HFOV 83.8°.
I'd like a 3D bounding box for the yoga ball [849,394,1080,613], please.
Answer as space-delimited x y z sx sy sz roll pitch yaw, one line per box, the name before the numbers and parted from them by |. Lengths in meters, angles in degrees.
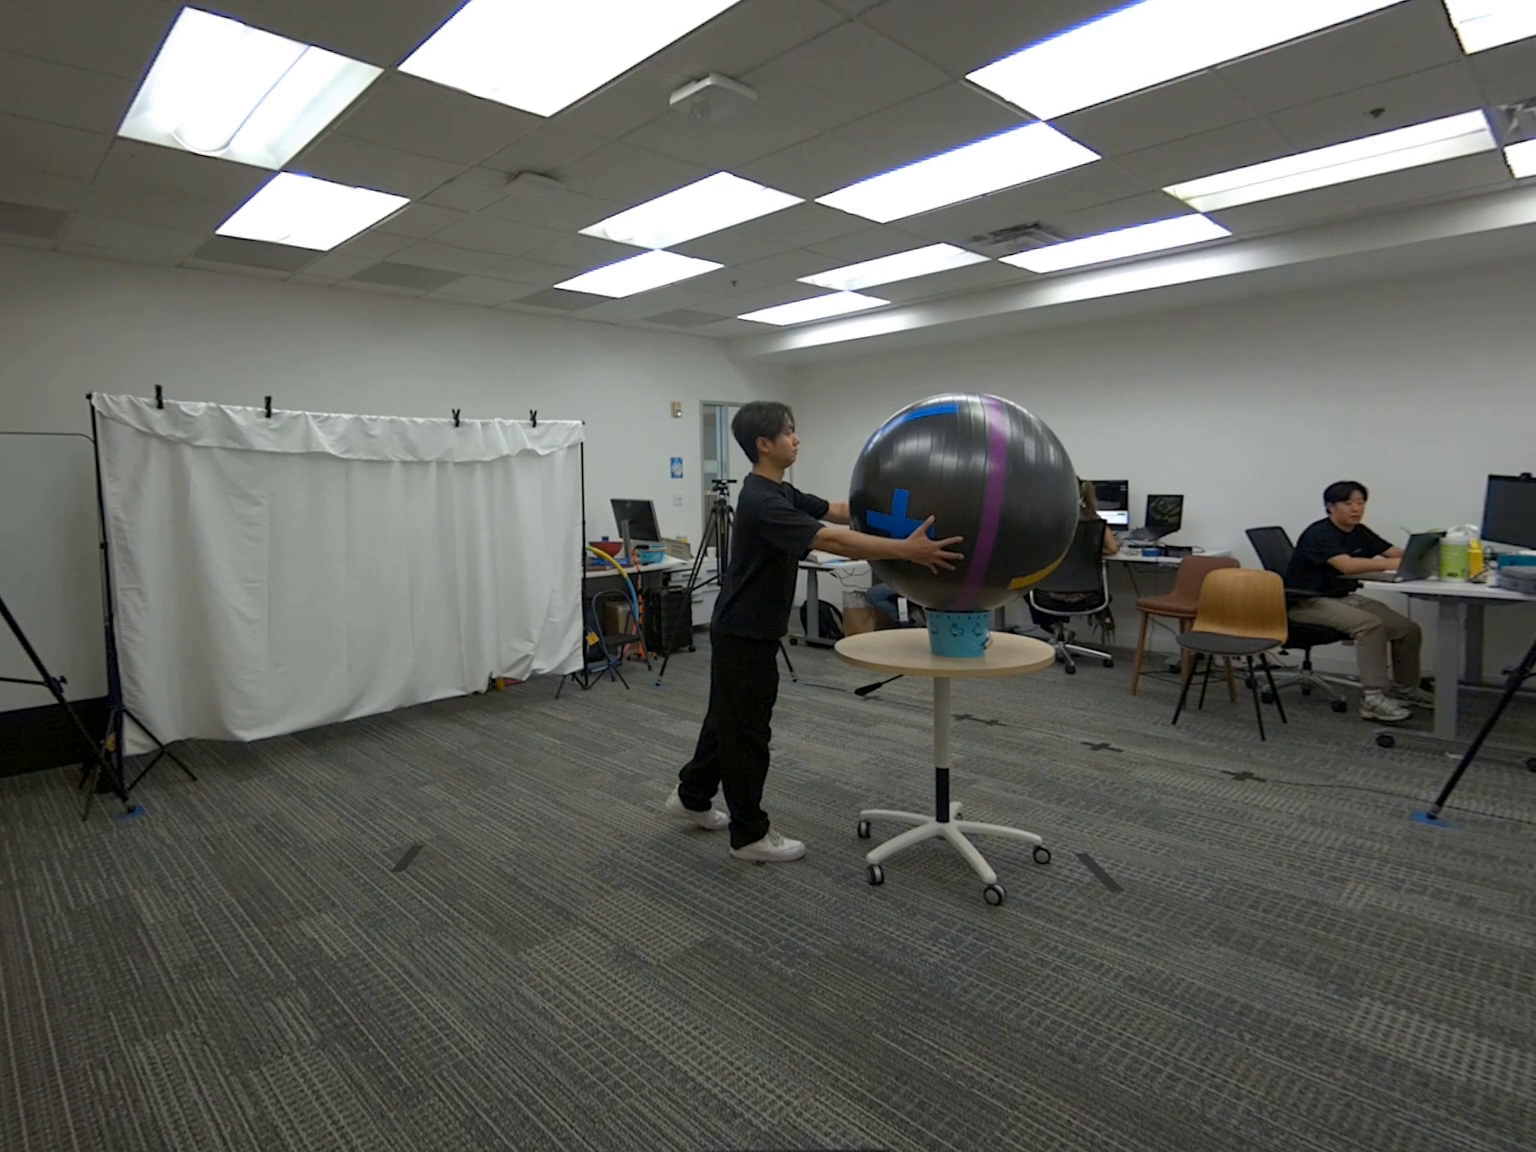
yoga ball | 0.678 -0.254 2.956 0.757 0.755 0.762 -1 5 -2
